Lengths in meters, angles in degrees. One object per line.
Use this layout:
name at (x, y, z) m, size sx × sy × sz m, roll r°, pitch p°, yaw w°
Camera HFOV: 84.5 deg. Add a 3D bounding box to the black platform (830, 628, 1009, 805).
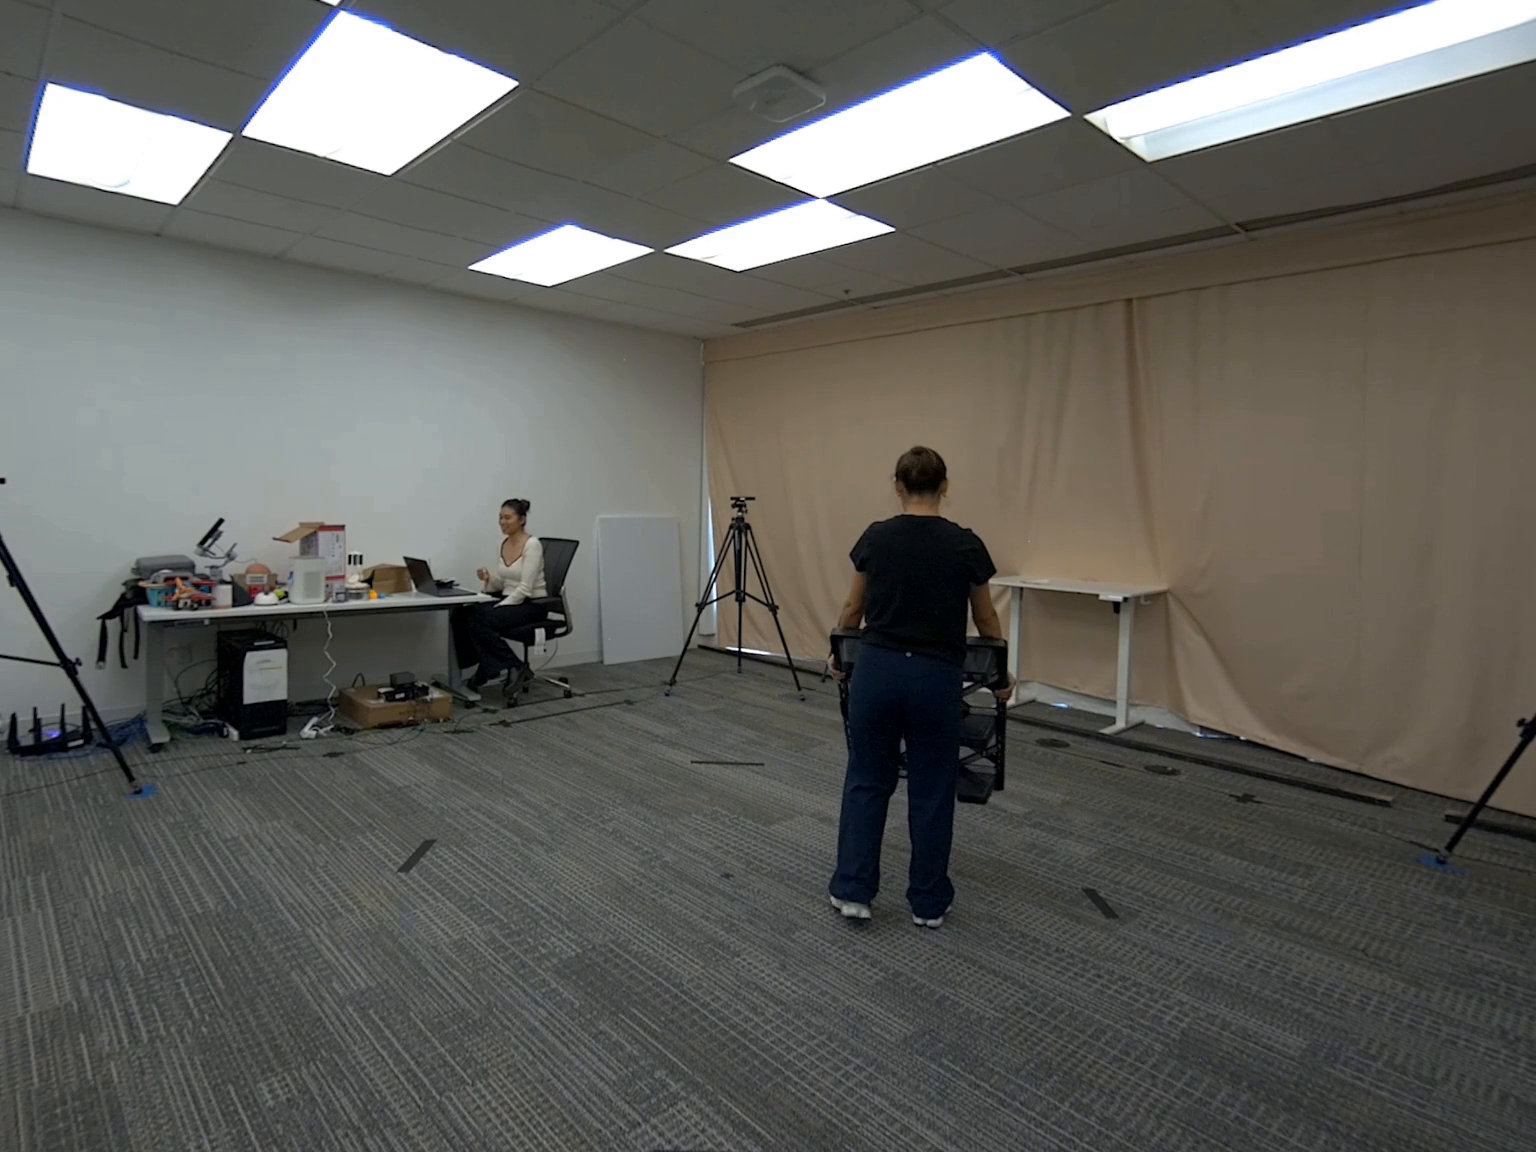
black platform at (0.548, 0.541, 3.065) m, size 0.613 × 0.785 × 0.145 m, roll 2°, pitch 39°, yaw 17°
